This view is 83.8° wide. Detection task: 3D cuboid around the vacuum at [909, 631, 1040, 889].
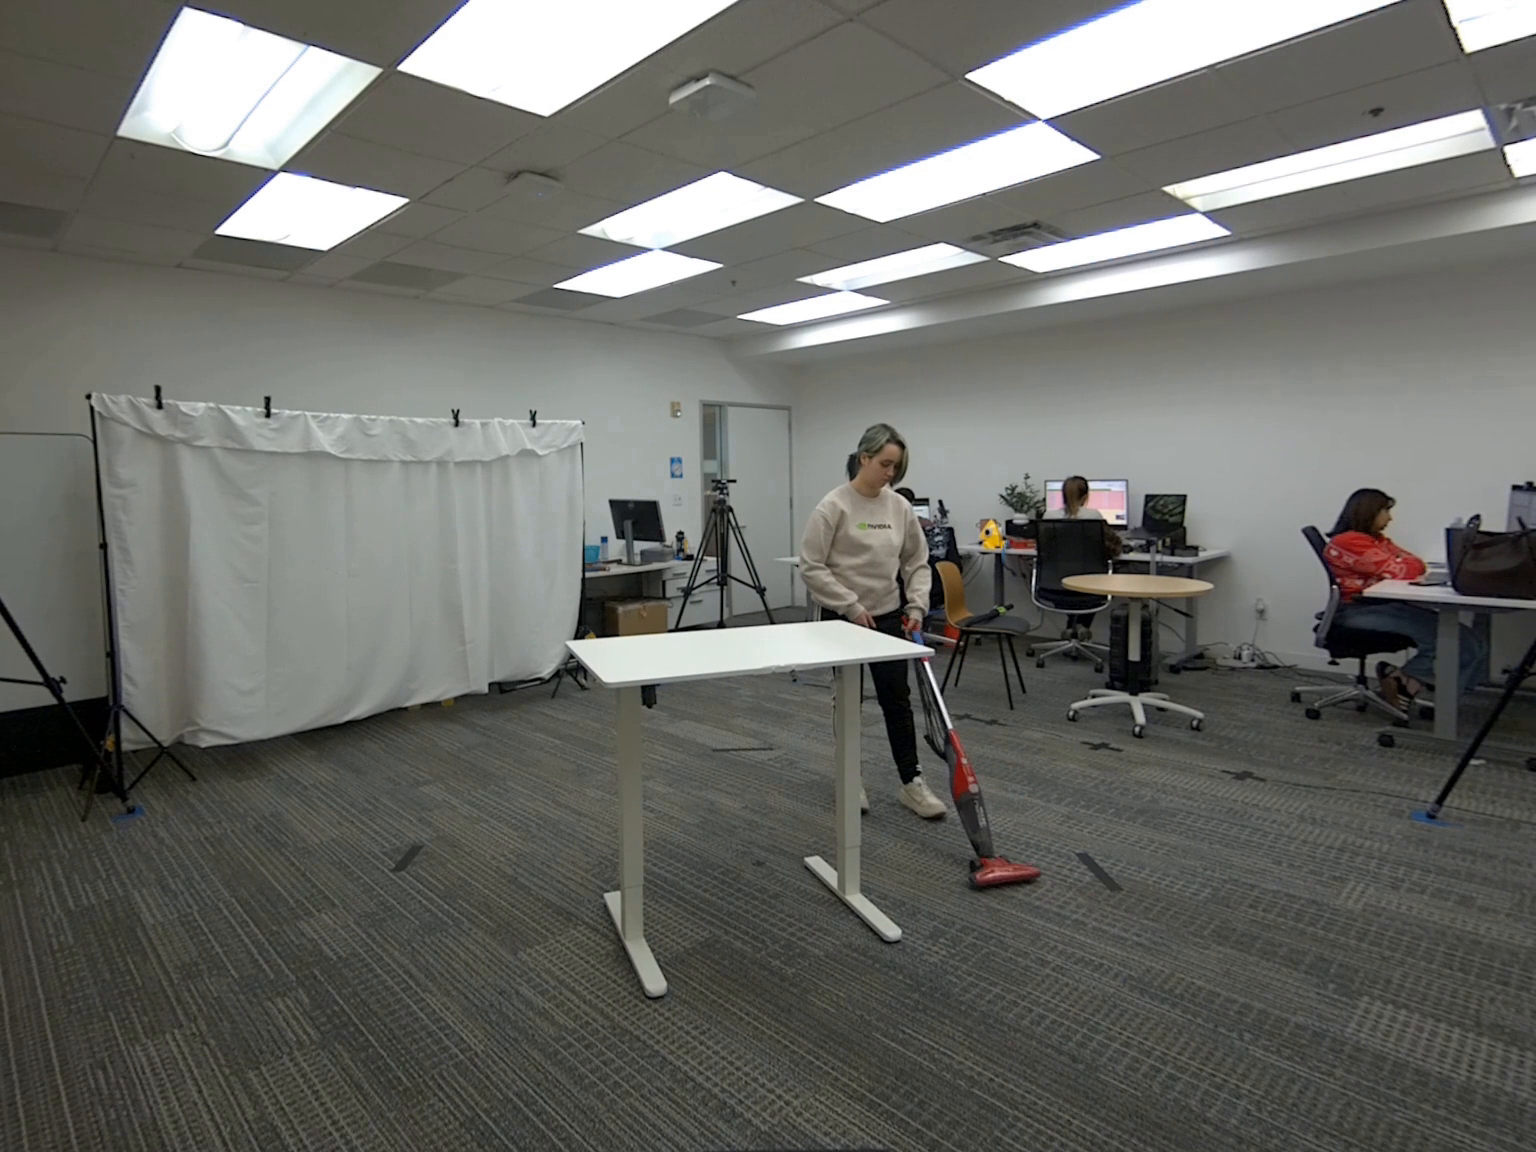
[{"bbox_3d":[0.690,0.624,3.271,0.248,1.084,0.142,0,-40,-20],"label":"vacuum"}]
